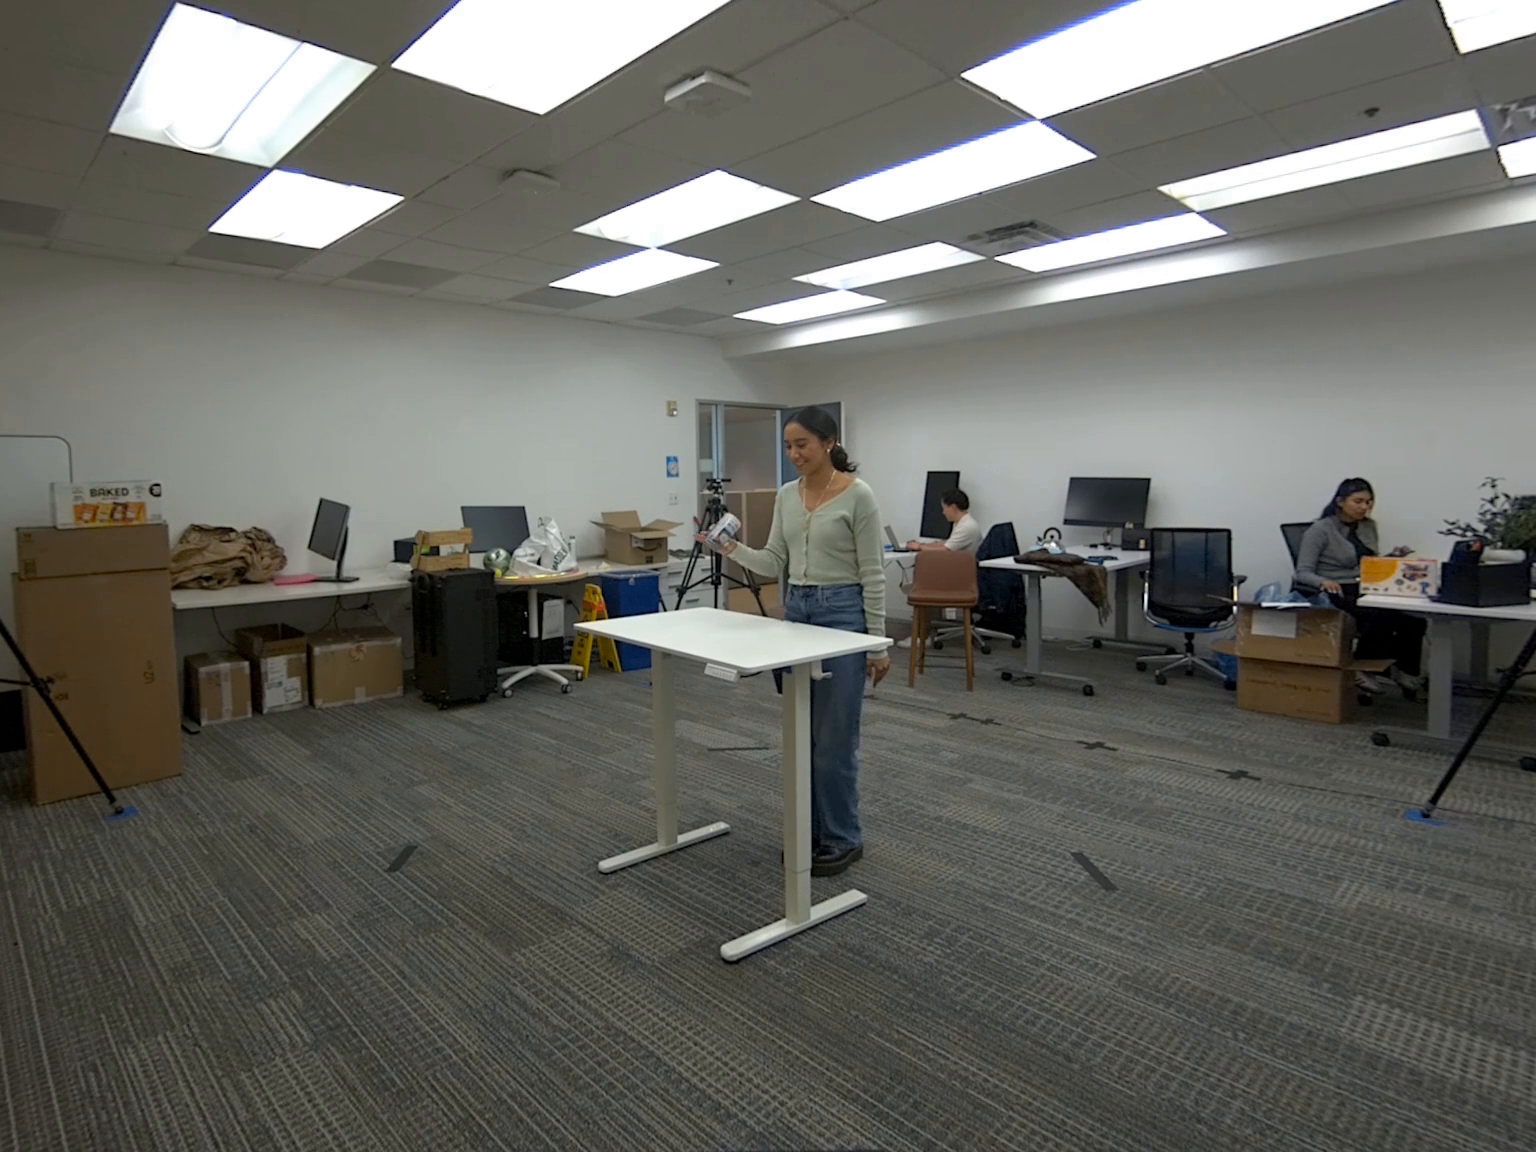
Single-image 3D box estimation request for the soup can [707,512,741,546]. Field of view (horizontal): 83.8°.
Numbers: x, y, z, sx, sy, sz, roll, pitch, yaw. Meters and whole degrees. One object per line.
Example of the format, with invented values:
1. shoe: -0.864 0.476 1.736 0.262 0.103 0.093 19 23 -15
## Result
1. soup can: -0.160 -0.142 2.898 0.067 0.122 0.066 21 -11 2
